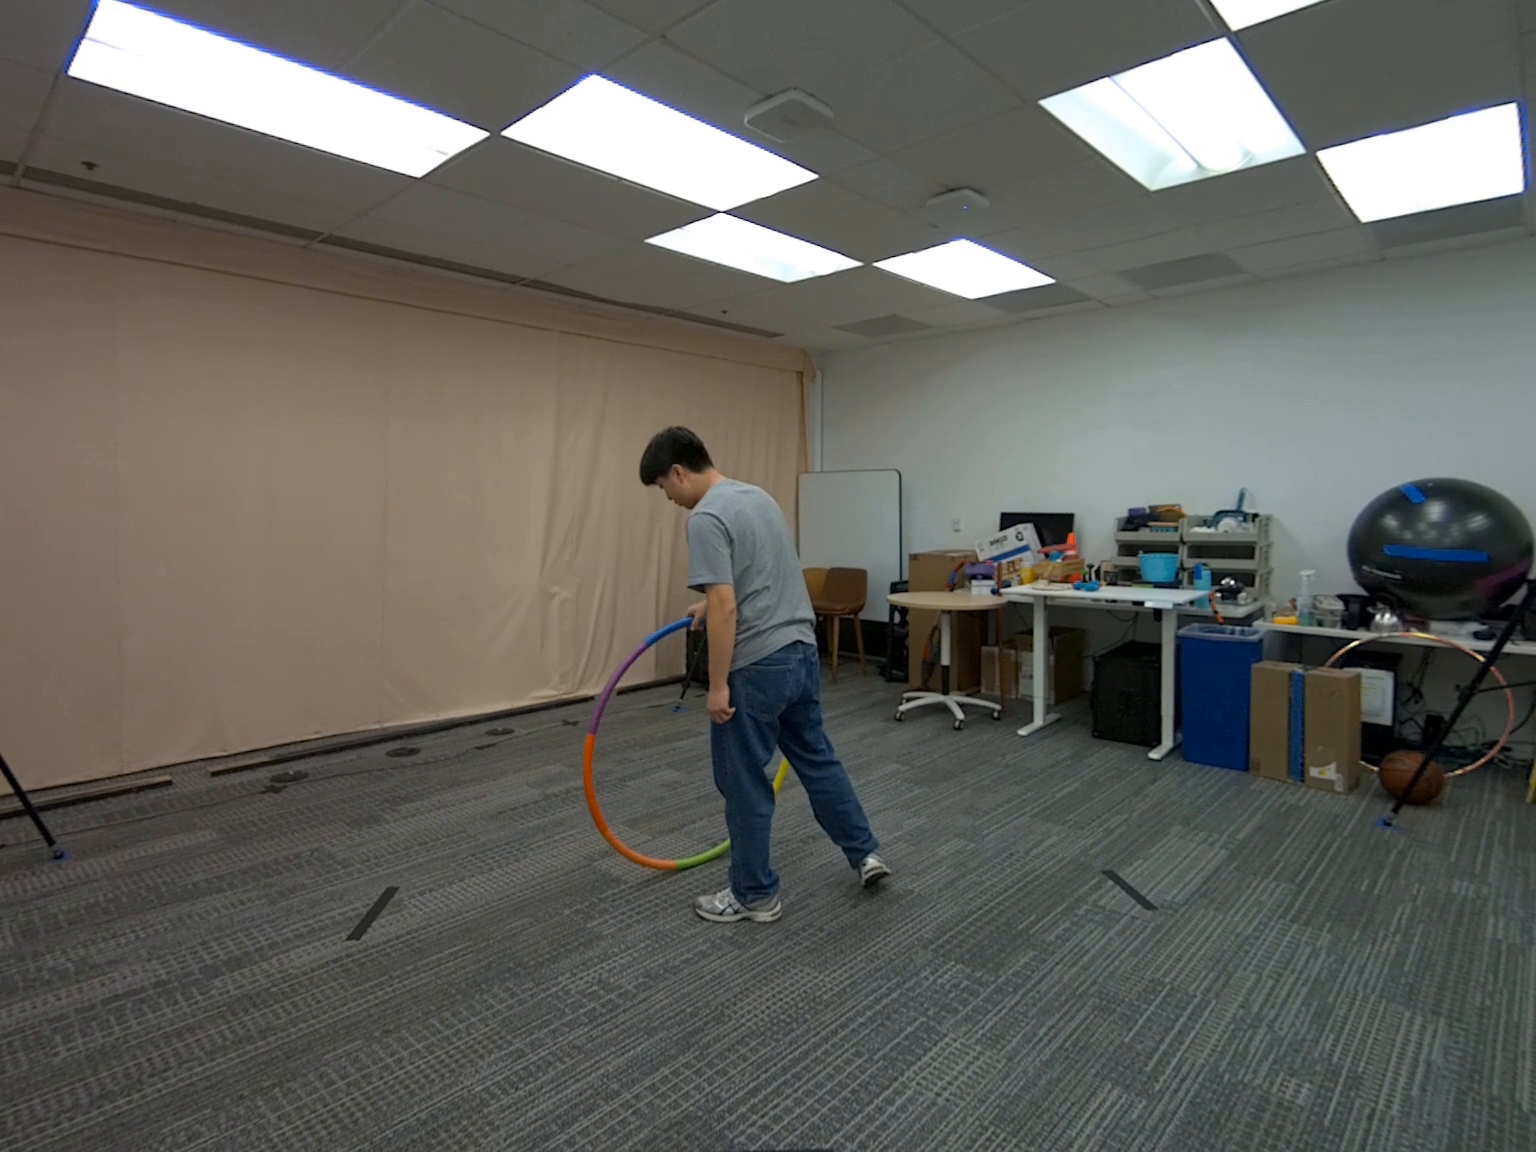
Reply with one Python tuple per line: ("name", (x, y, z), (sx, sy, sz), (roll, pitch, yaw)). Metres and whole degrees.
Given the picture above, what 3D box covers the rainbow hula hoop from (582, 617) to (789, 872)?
("rainbow hula hoop", (-0.264, 0.639, 3.228), (0.949, 0.975, 0.037), (-3, 7, -38))
